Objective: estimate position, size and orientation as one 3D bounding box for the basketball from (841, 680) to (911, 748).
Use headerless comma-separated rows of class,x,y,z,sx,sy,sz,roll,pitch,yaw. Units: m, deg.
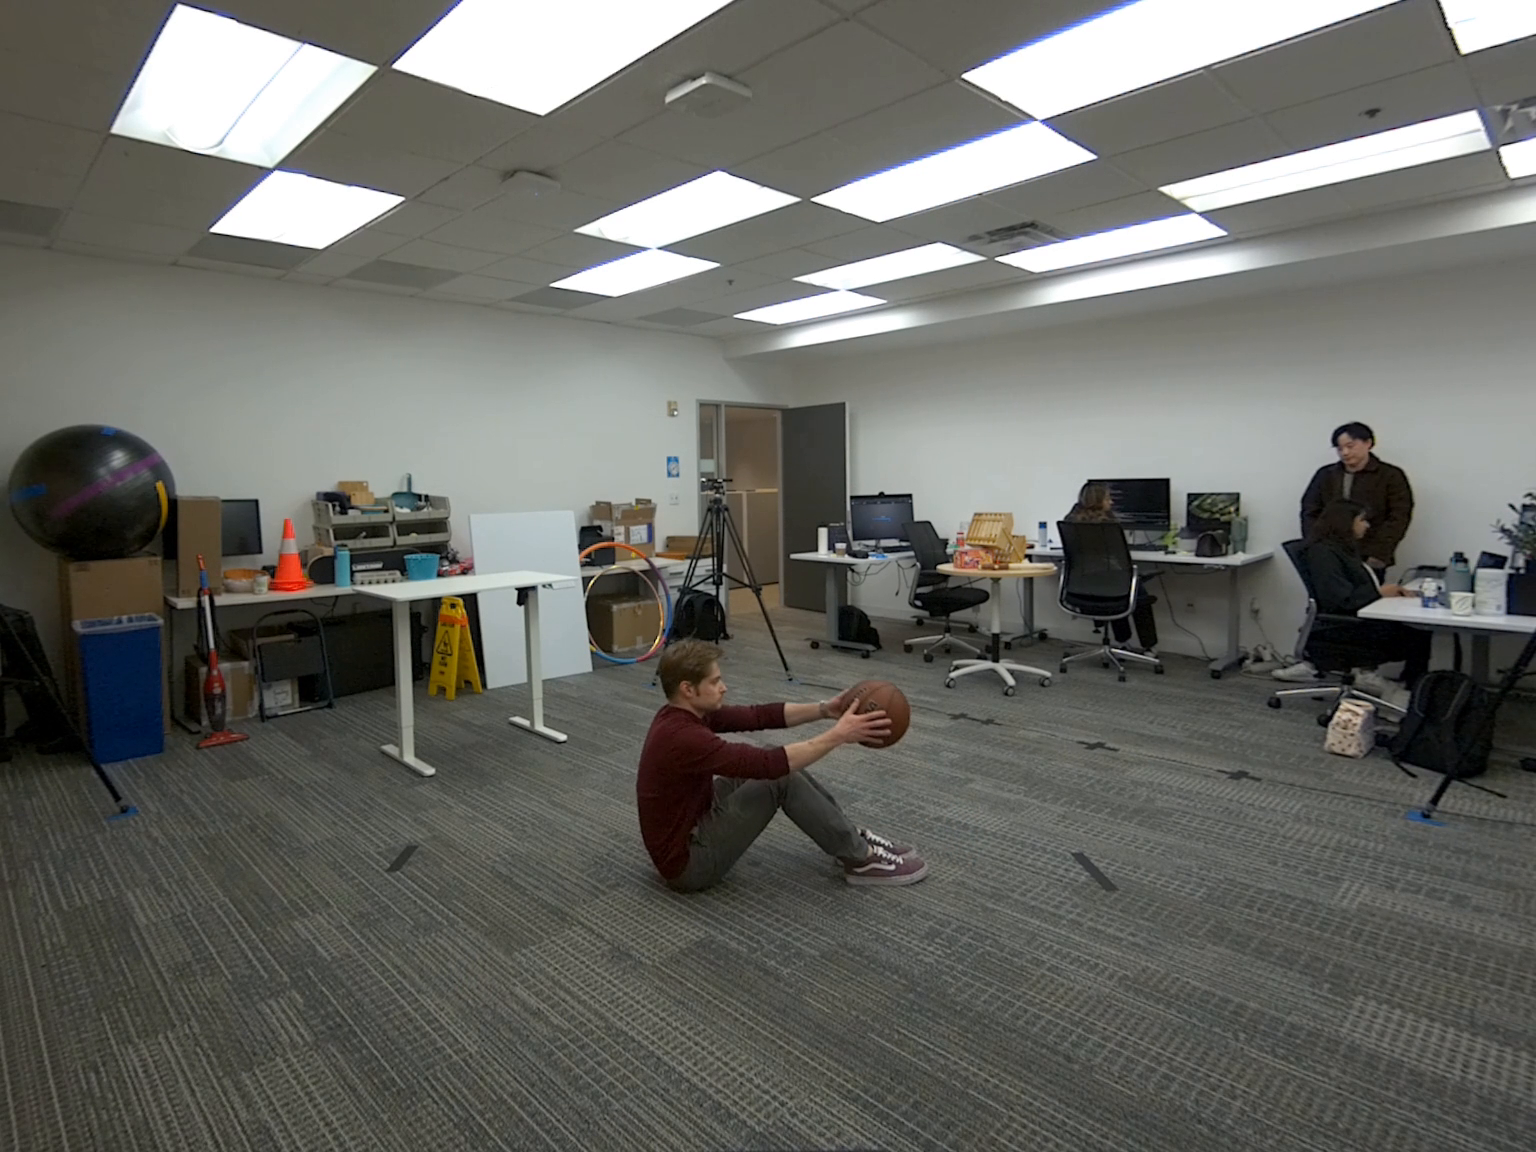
basketball,0.371,0.485,2.974,0.236,0.235,0.237,-1,5,-2
